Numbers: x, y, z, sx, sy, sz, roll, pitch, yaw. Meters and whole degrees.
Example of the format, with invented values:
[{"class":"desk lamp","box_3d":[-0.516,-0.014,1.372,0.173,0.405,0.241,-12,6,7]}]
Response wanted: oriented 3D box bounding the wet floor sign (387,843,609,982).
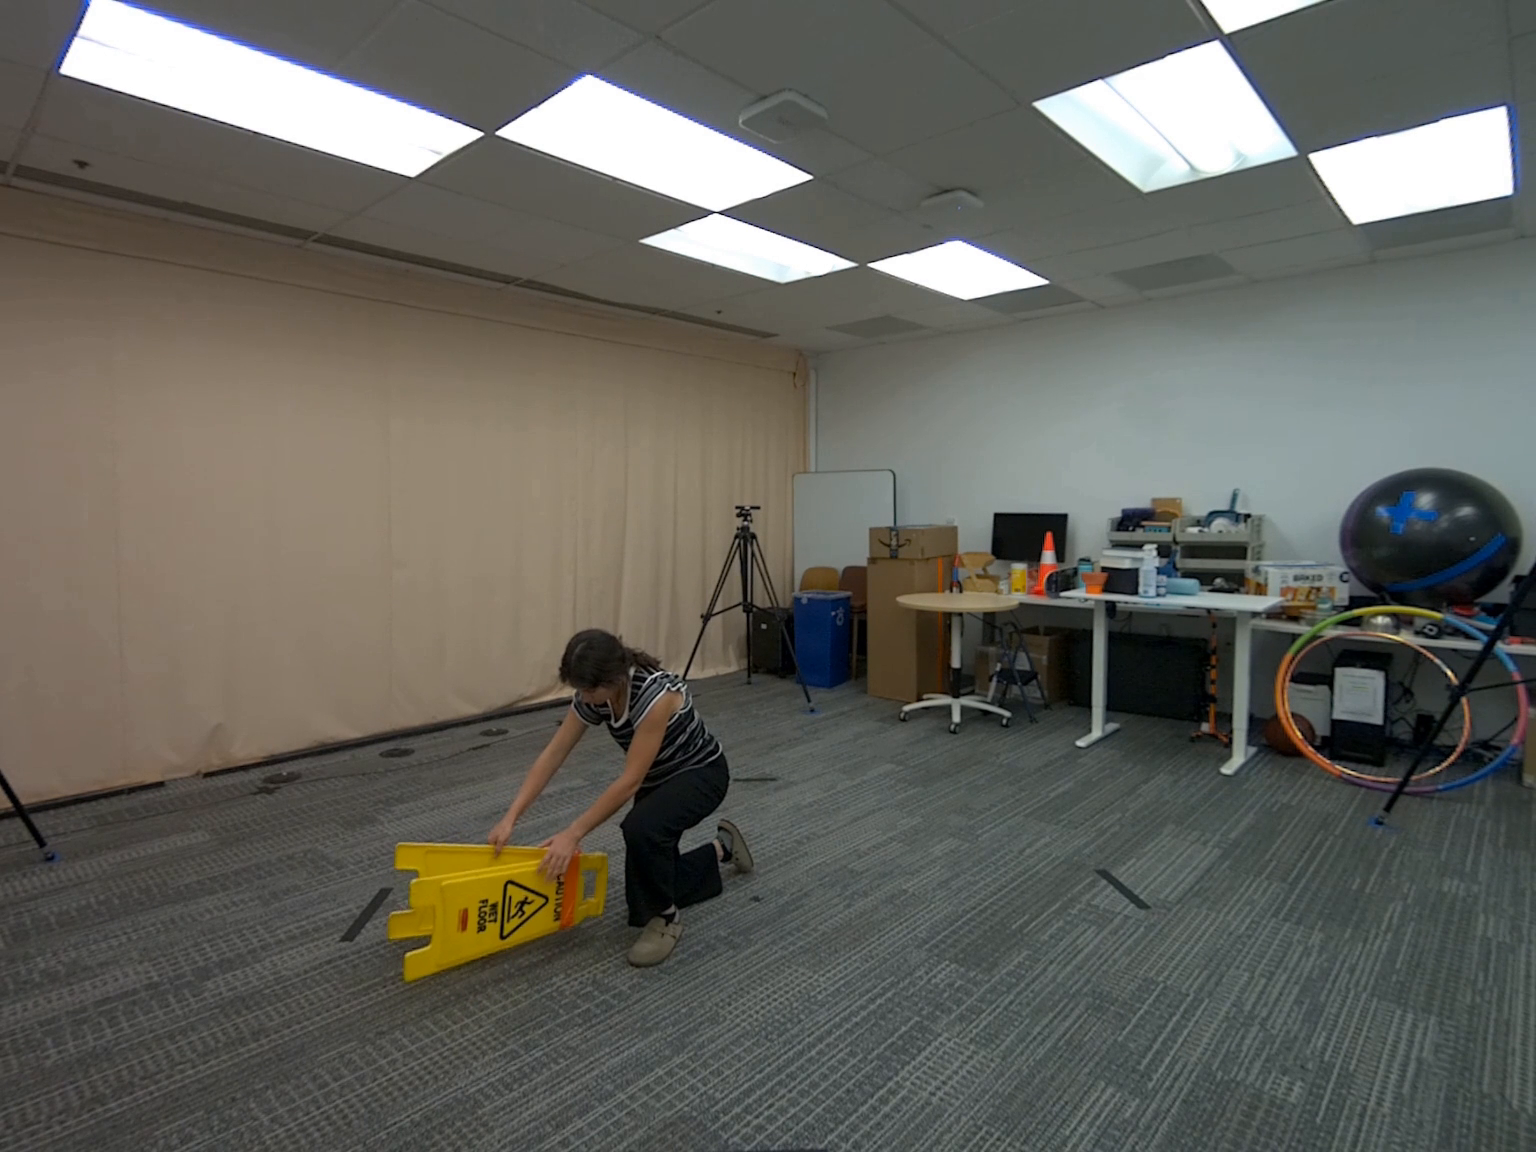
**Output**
[{"class":"wet floor sign","box_3d":[-0.801,0.992,2.591,0.627,0.282,0.298,5,1,-31]}]
